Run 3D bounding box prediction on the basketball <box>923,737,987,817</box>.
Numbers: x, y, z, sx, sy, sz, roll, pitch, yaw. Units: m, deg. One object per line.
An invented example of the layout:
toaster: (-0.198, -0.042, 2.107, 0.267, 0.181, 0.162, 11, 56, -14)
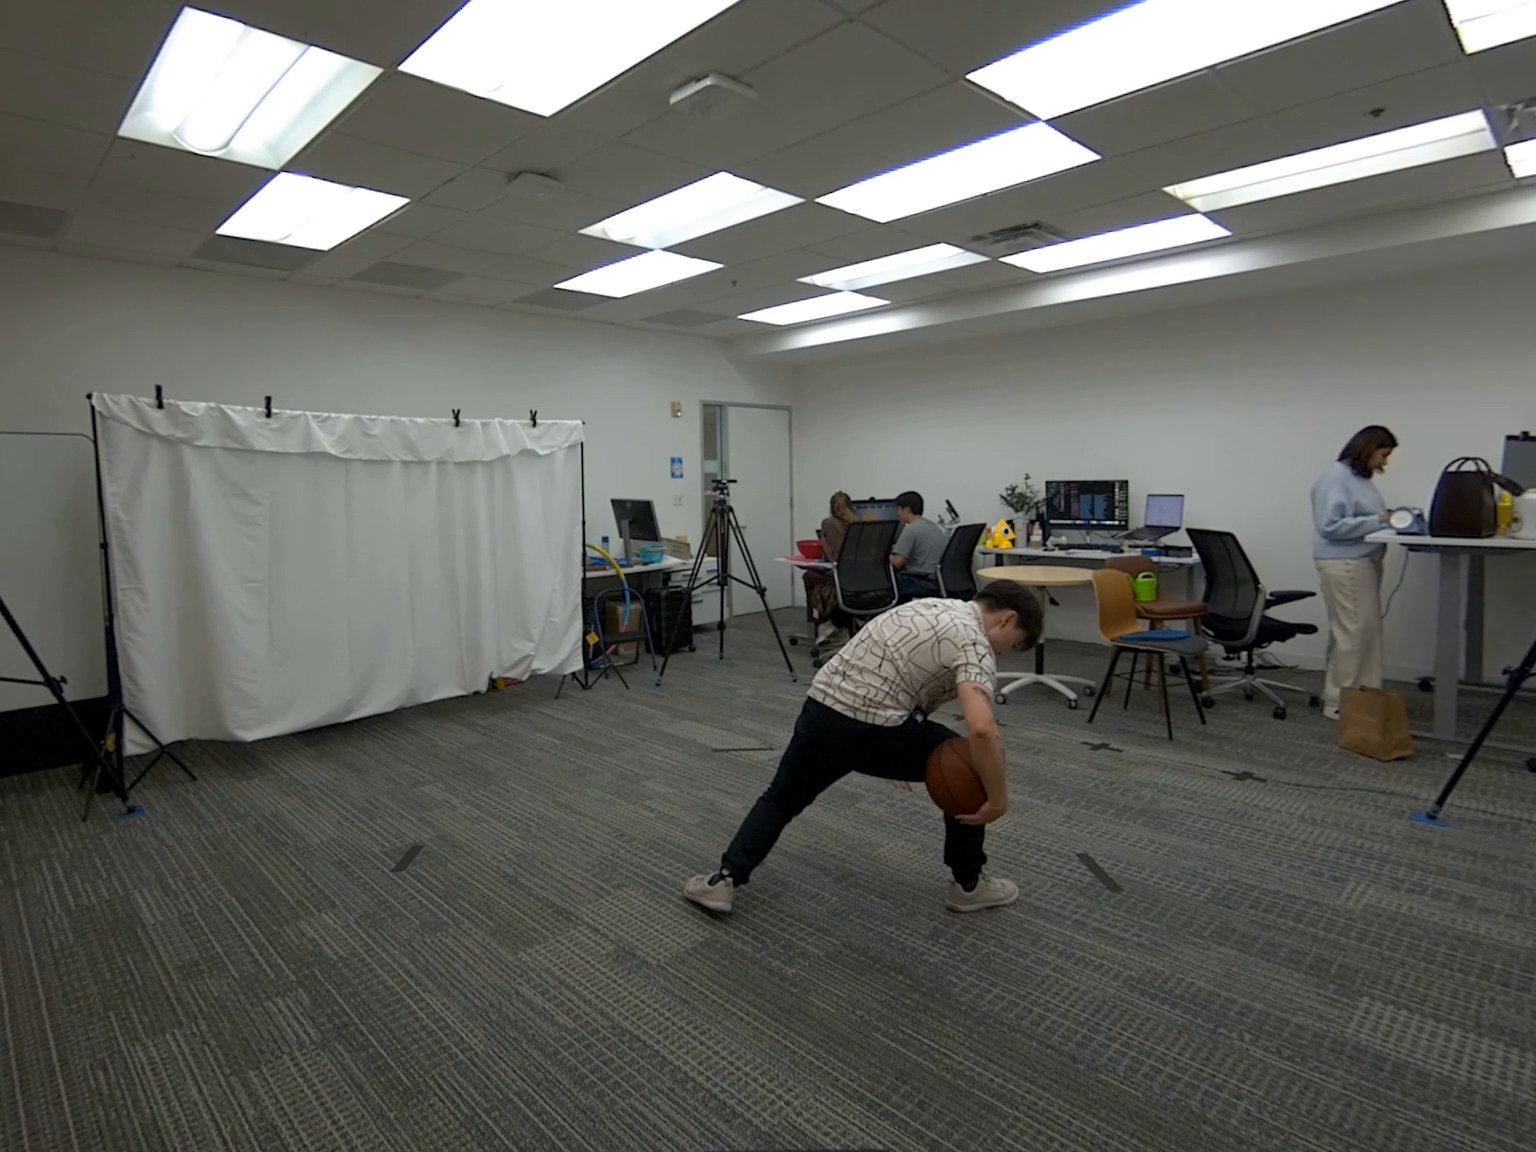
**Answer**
basketball: (0.599, 0.611, 2.588, 0.236, 0.235, 0.237, -1, 5, -2)
